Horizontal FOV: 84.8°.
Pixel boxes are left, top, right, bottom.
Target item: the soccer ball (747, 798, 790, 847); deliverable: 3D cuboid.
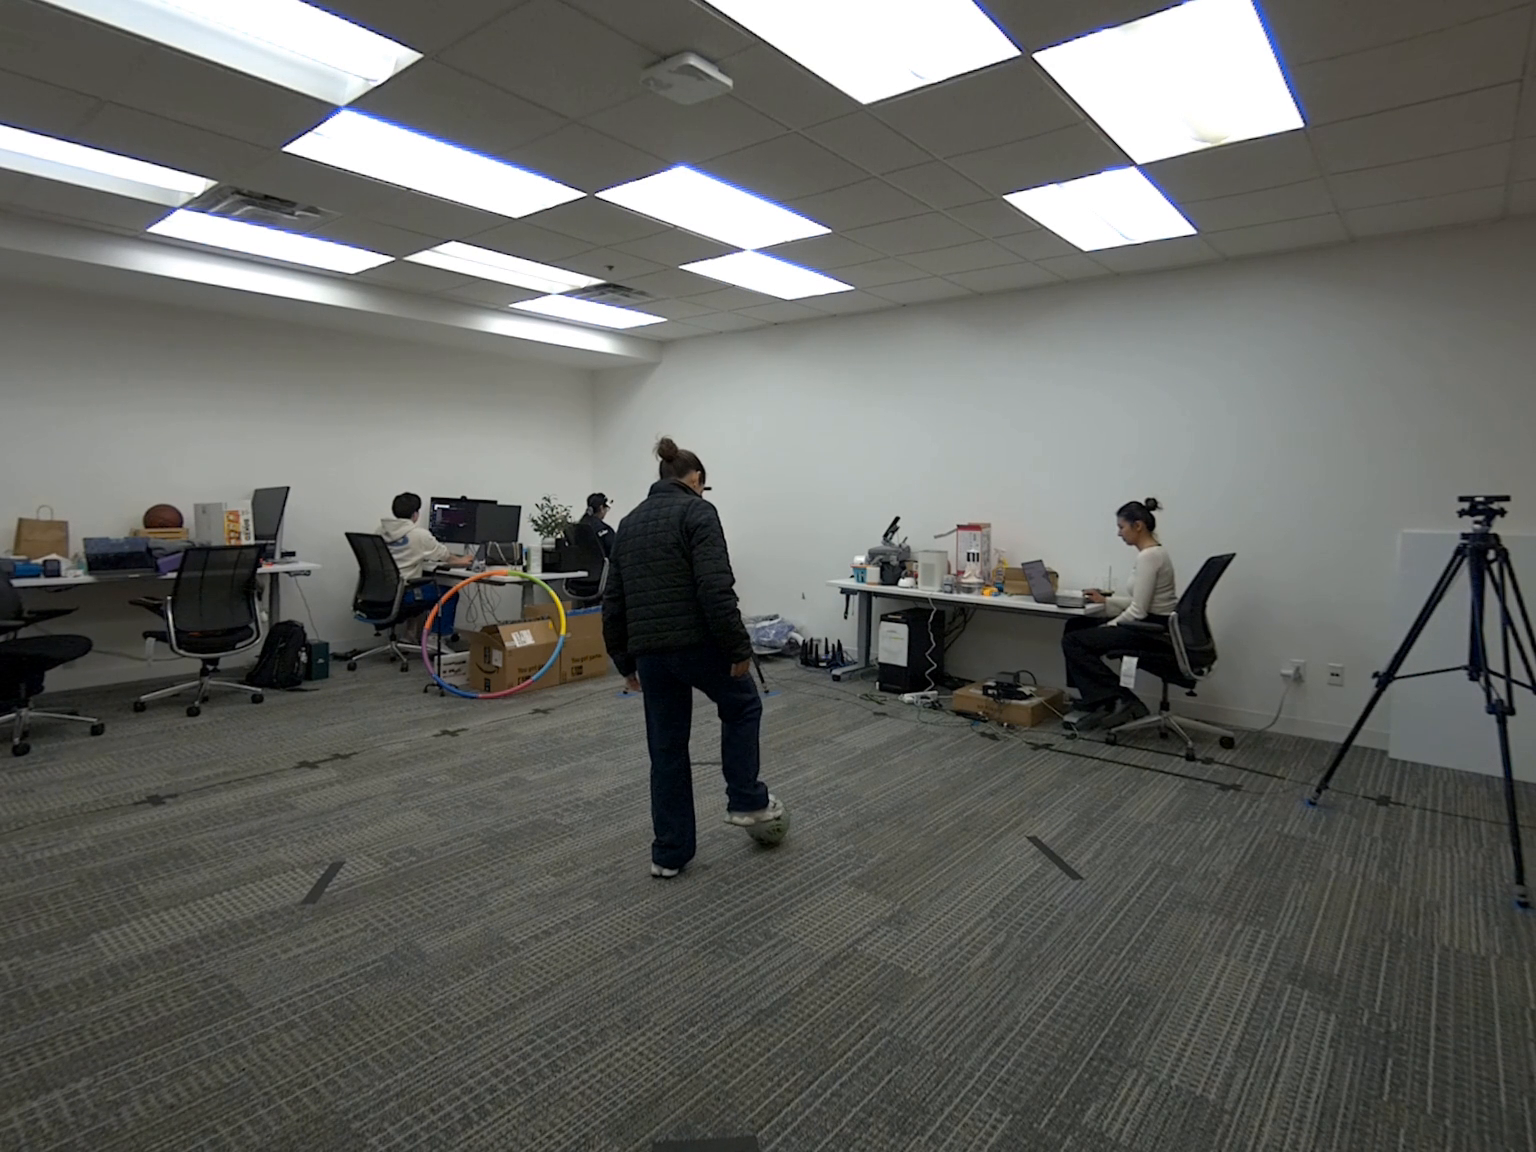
[{"bbox_3d":[-0.009,0.945,3.342,0.187,0.187,0.188,1,4,-2],"label":"soccer ball"}]
